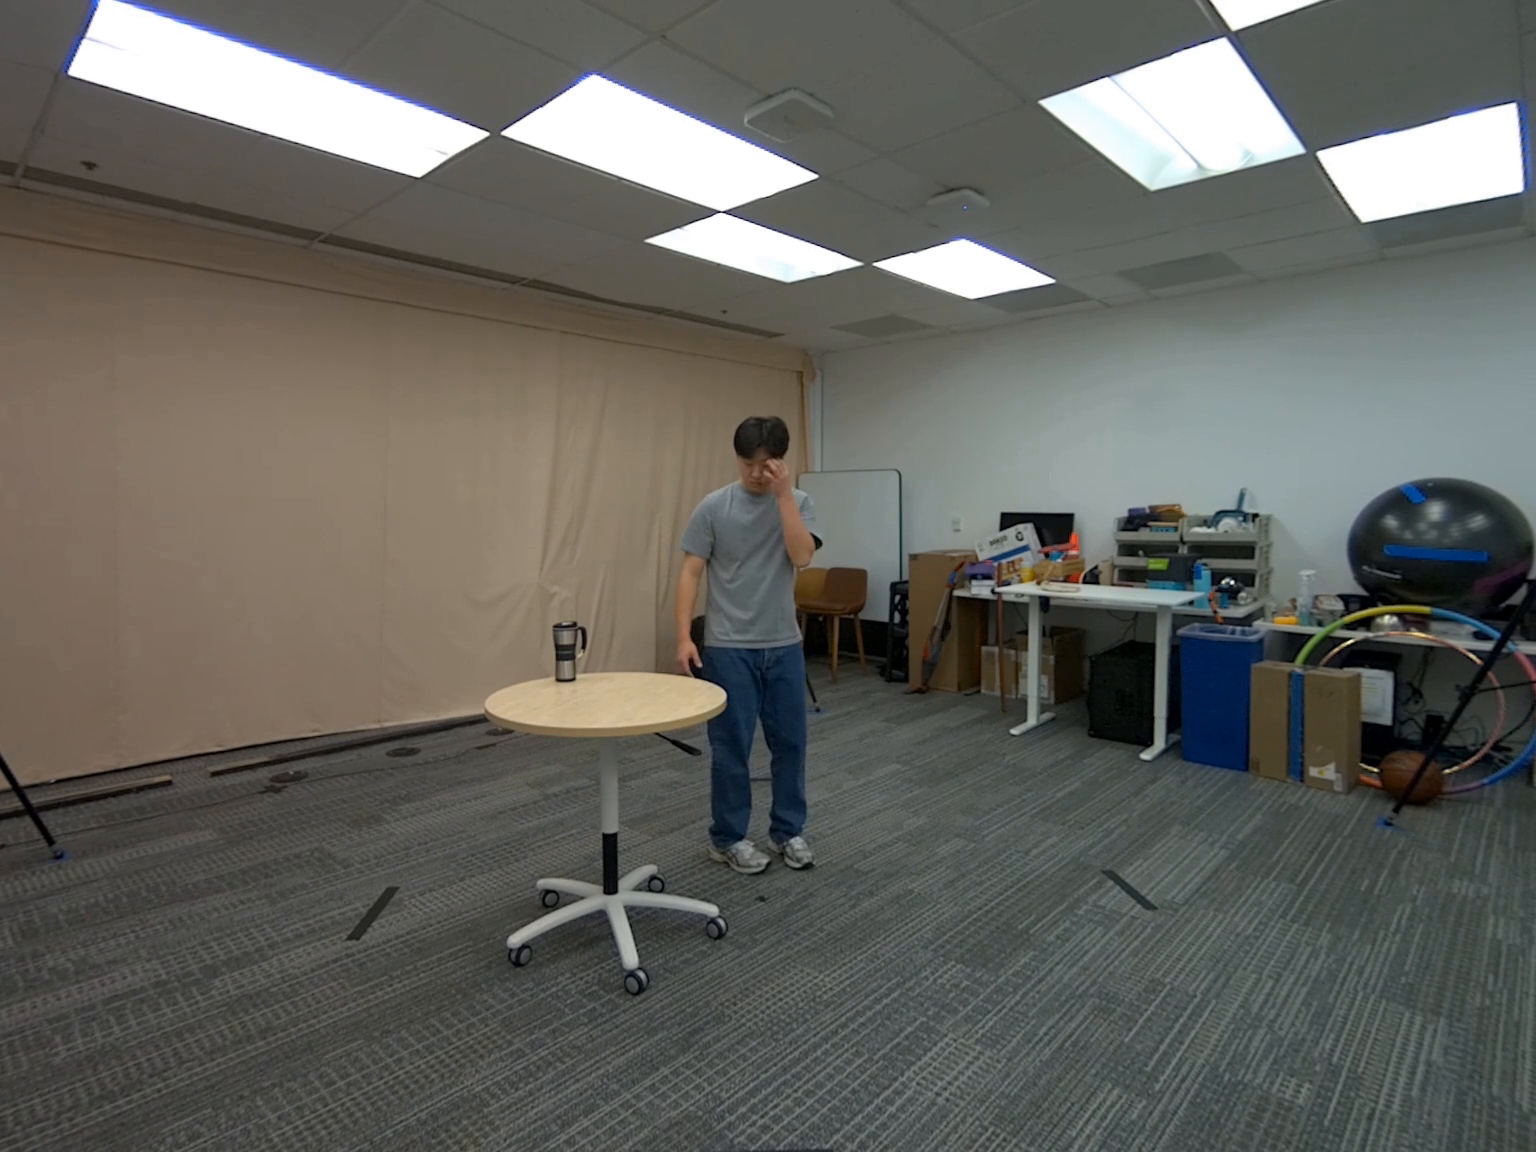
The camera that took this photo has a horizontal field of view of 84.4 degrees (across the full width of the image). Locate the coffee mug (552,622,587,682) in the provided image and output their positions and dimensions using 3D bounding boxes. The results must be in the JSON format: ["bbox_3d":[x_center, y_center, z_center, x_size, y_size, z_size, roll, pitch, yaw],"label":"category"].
[{"bbox_3d":[-0.692,0.266,2.950,0.120,0.203,0.090,-7,2,-20],"label":"coffee mug"}]
